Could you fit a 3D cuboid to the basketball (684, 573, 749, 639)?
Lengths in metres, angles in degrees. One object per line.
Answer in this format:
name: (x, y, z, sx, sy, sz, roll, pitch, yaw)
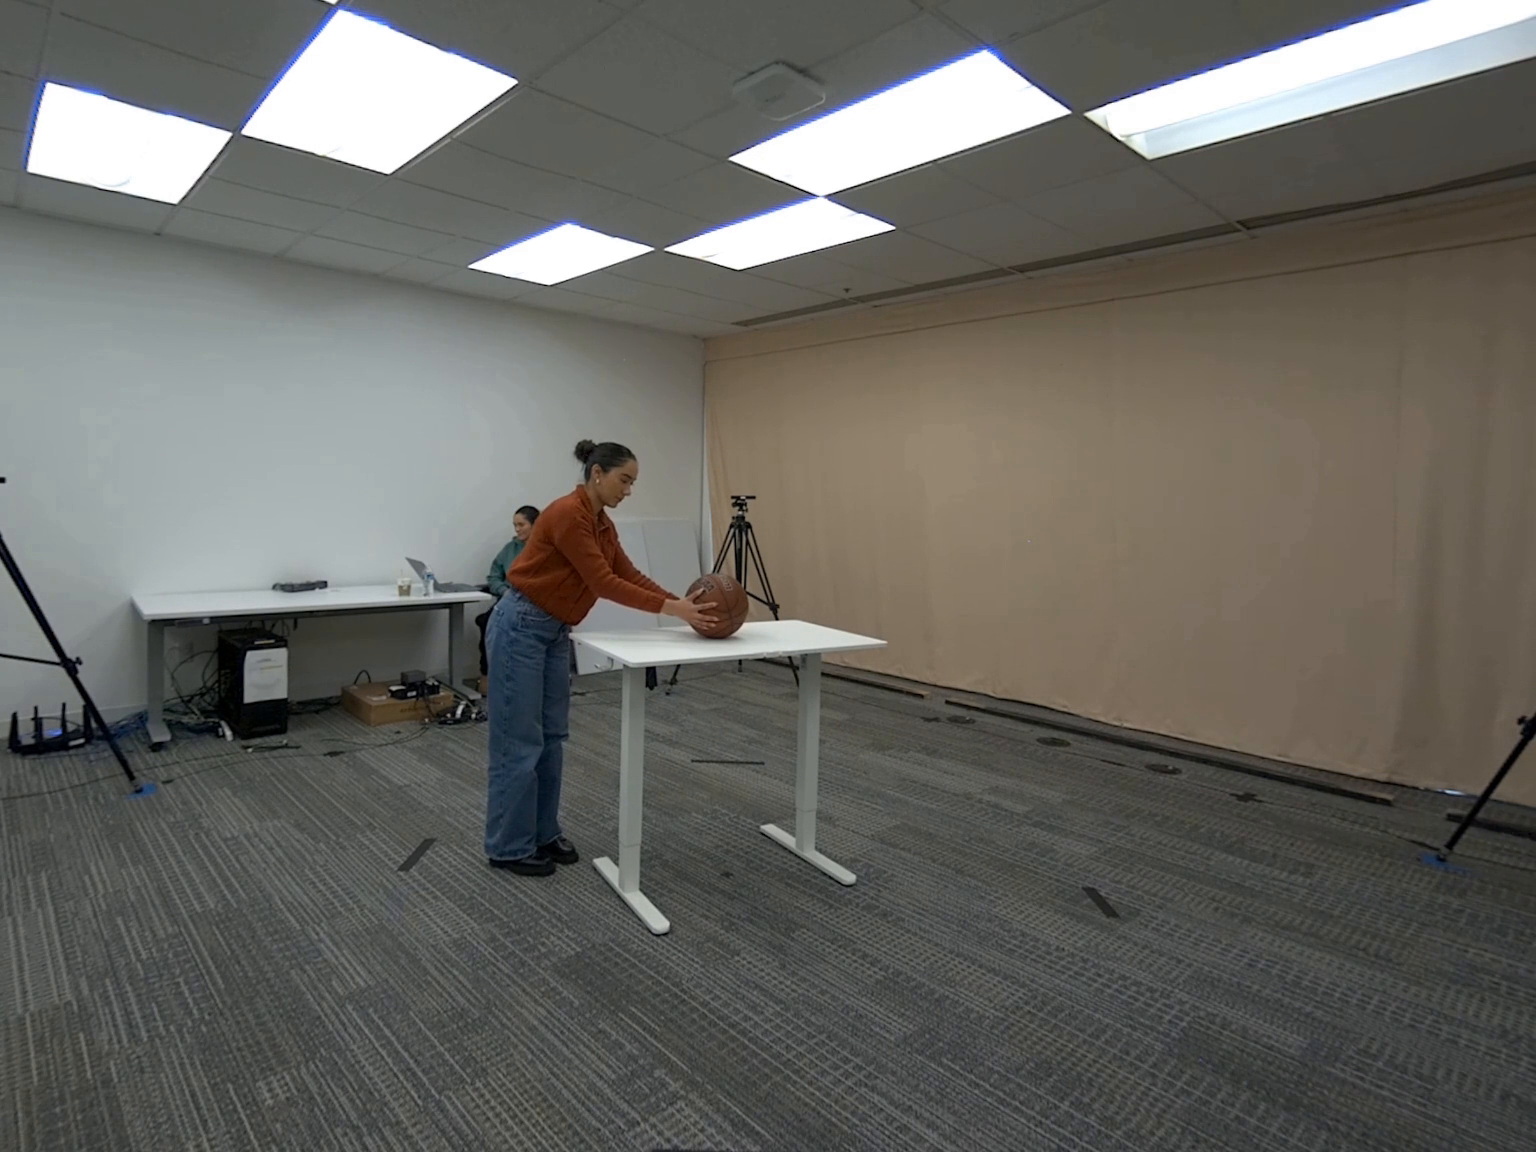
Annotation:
basketball: (-0.192, 0.109, 3.037, 0.236, 0.235, 0.237, 1, 4, -1)
